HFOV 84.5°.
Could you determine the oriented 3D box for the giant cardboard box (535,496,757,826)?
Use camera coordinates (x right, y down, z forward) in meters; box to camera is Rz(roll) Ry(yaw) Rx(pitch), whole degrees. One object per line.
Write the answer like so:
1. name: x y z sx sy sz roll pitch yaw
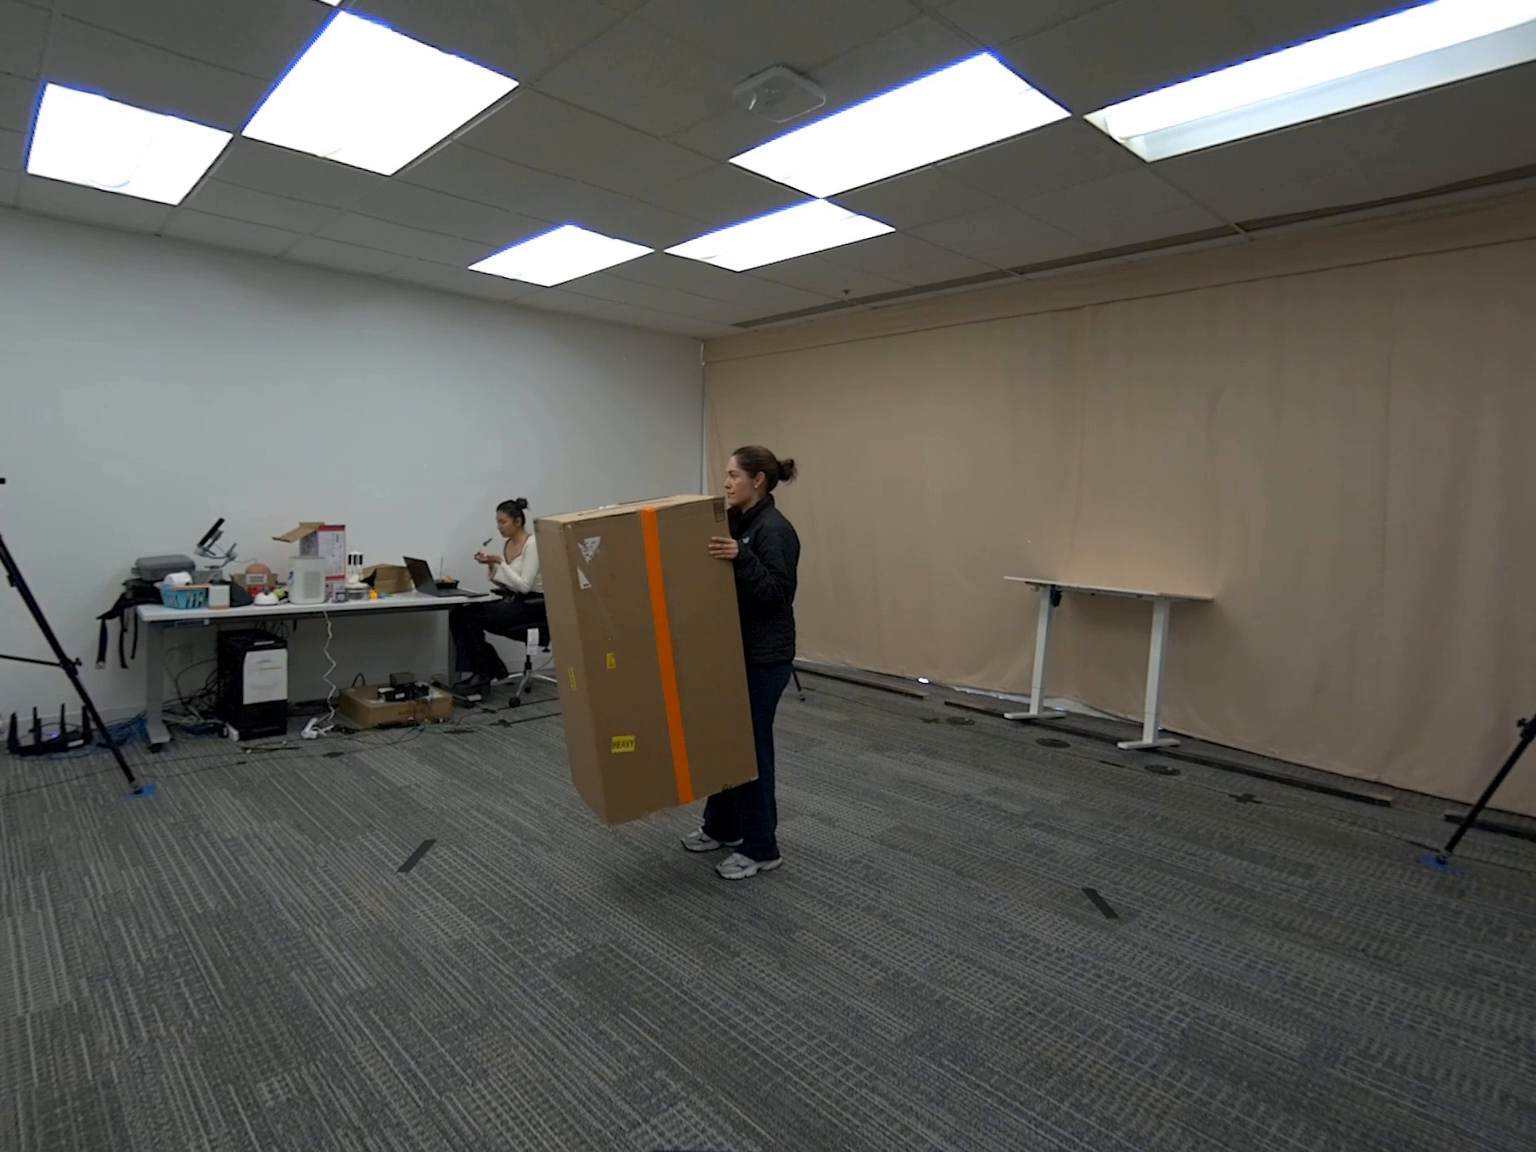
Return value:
1. giant cardboard box: -0.443 0.265 2.998 0.569 1.019 0.435 -11 9 -26
